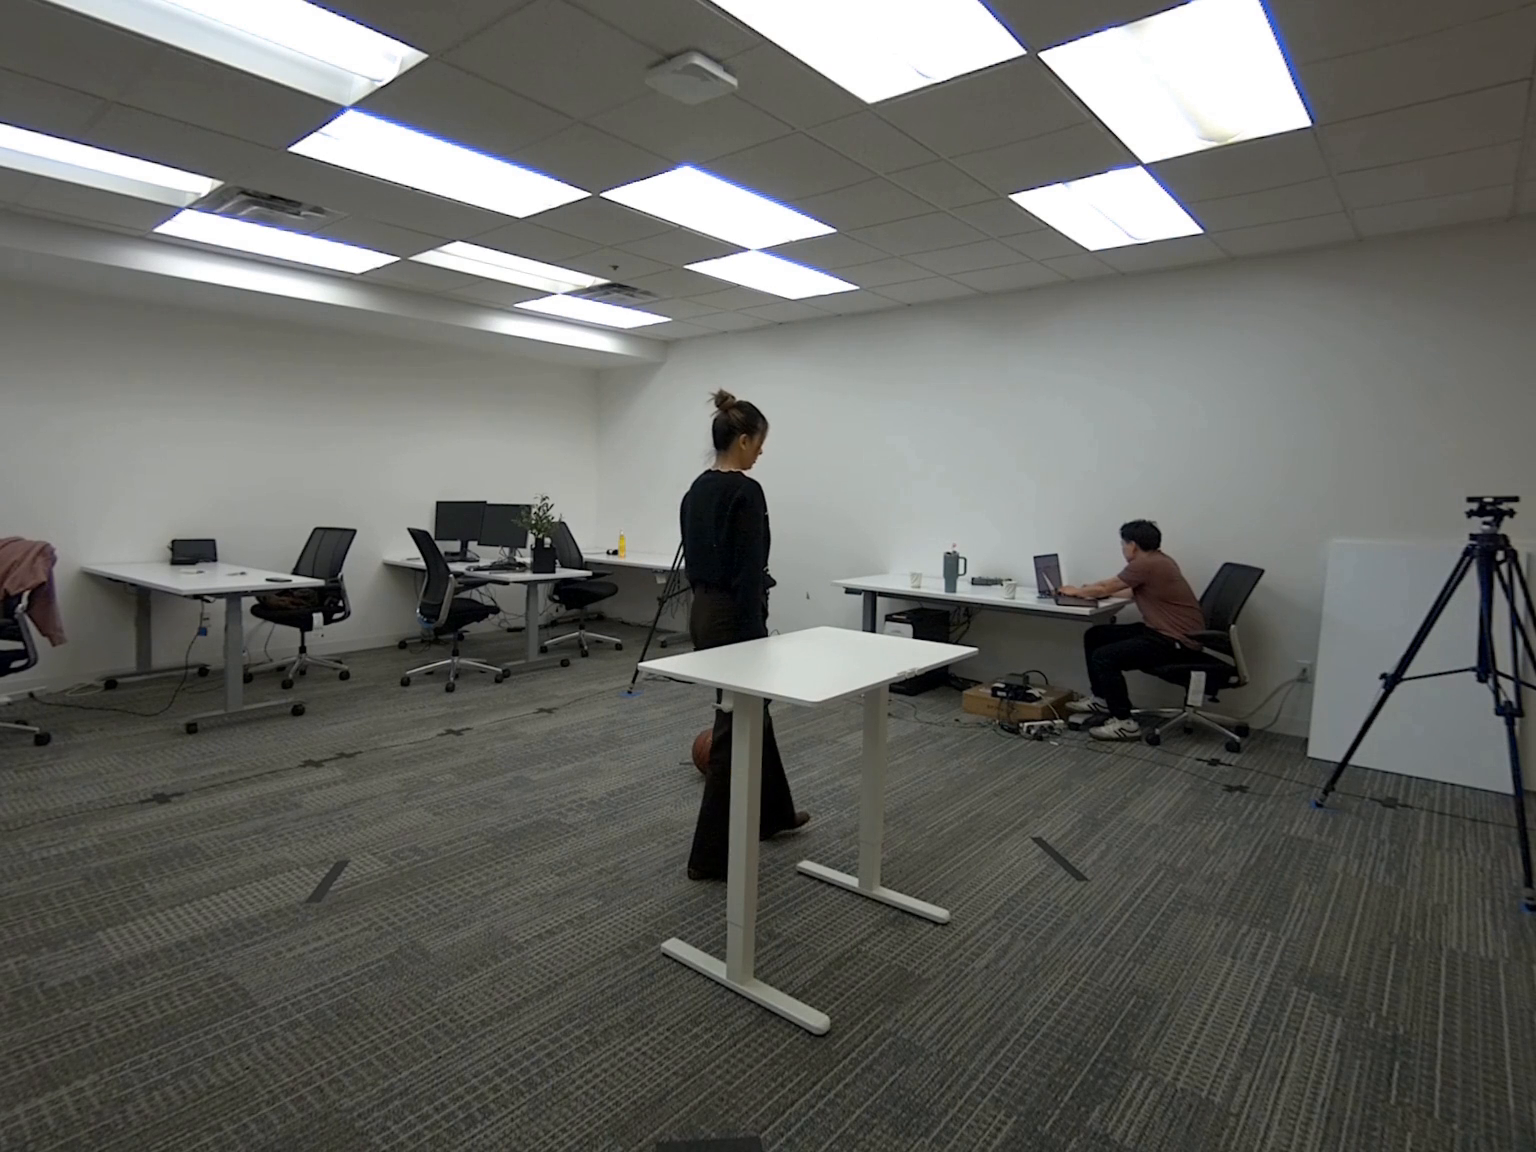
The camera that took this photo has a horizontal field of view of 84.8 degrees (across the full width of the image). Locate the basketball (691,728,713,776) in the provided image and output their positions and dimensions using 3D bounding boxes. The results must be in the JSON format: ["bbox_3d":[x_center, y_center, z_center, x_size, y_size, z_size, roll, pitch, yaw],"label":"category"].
[{"bbox_3d":[-0.256,0.848,4.110,0.235,0.235,0.237,1,4,-2],"label":"basketball"}]
